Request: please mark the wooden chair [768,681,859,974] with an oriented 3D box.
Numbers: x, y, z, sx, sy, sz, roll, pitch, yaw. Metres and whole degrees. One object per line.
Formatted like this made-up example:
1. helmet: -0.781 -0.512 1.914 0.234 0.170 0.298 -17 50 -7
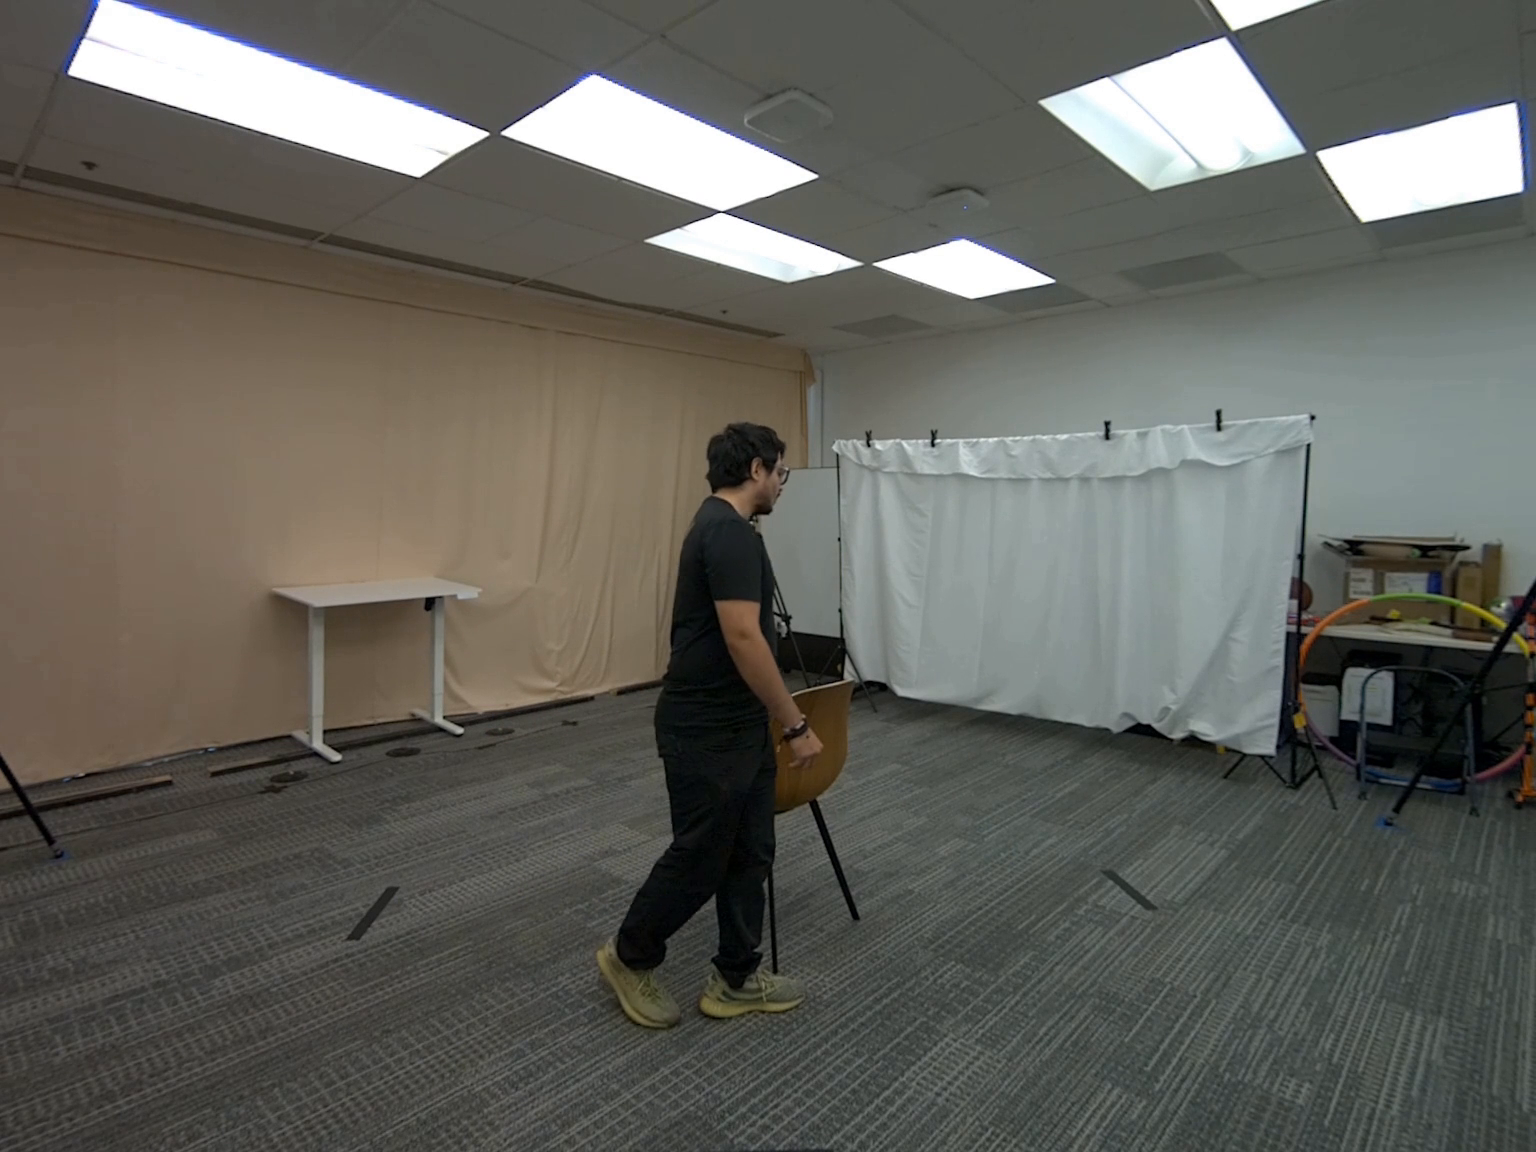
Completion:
1. wooden chair: -0.011 0.733 2.799 0.541 0.874 0.463 9 9 41
